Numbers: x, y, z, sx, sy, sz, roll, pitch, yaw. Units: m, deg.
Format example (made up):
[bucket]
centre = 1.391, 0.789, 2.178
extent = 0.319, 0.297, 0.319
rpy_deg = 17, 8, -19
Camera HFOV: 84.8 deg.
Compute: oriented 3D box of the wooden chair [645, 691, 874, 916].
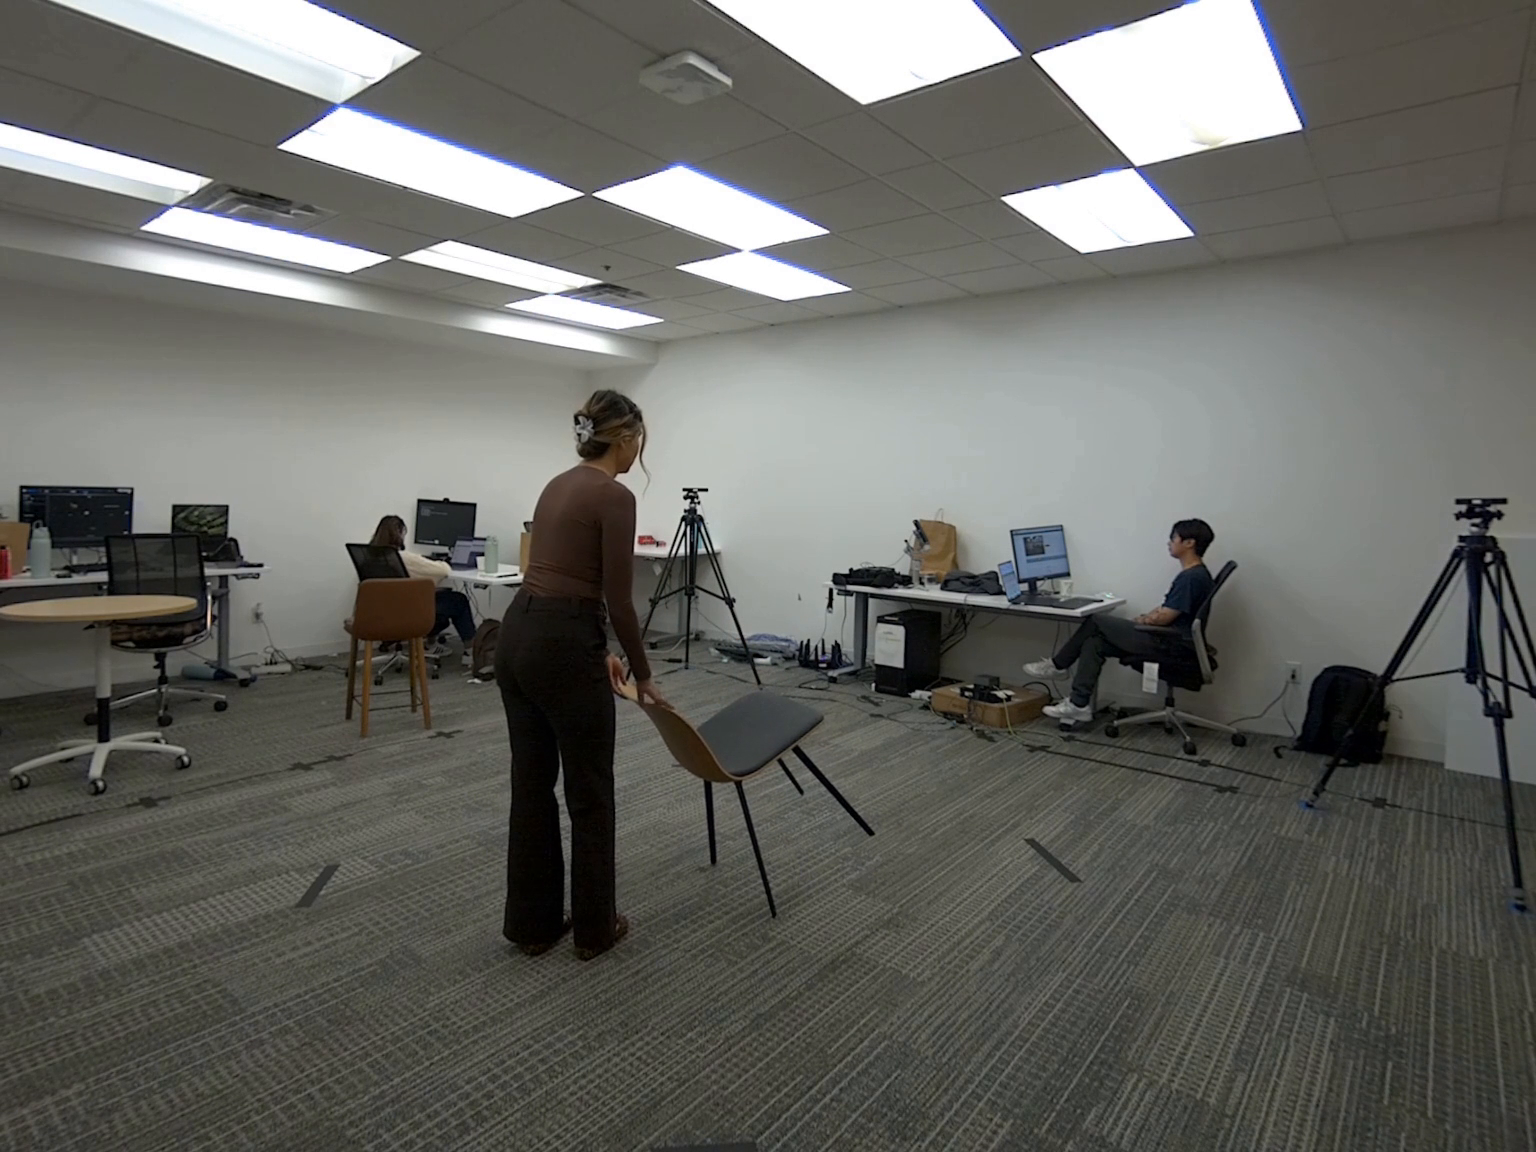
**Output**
[wooden chair]
centre = -0.087, 0.601, 2.935
extent = 0.519, 0.858, 0.492
rpy_deg = -35, 19, -22
